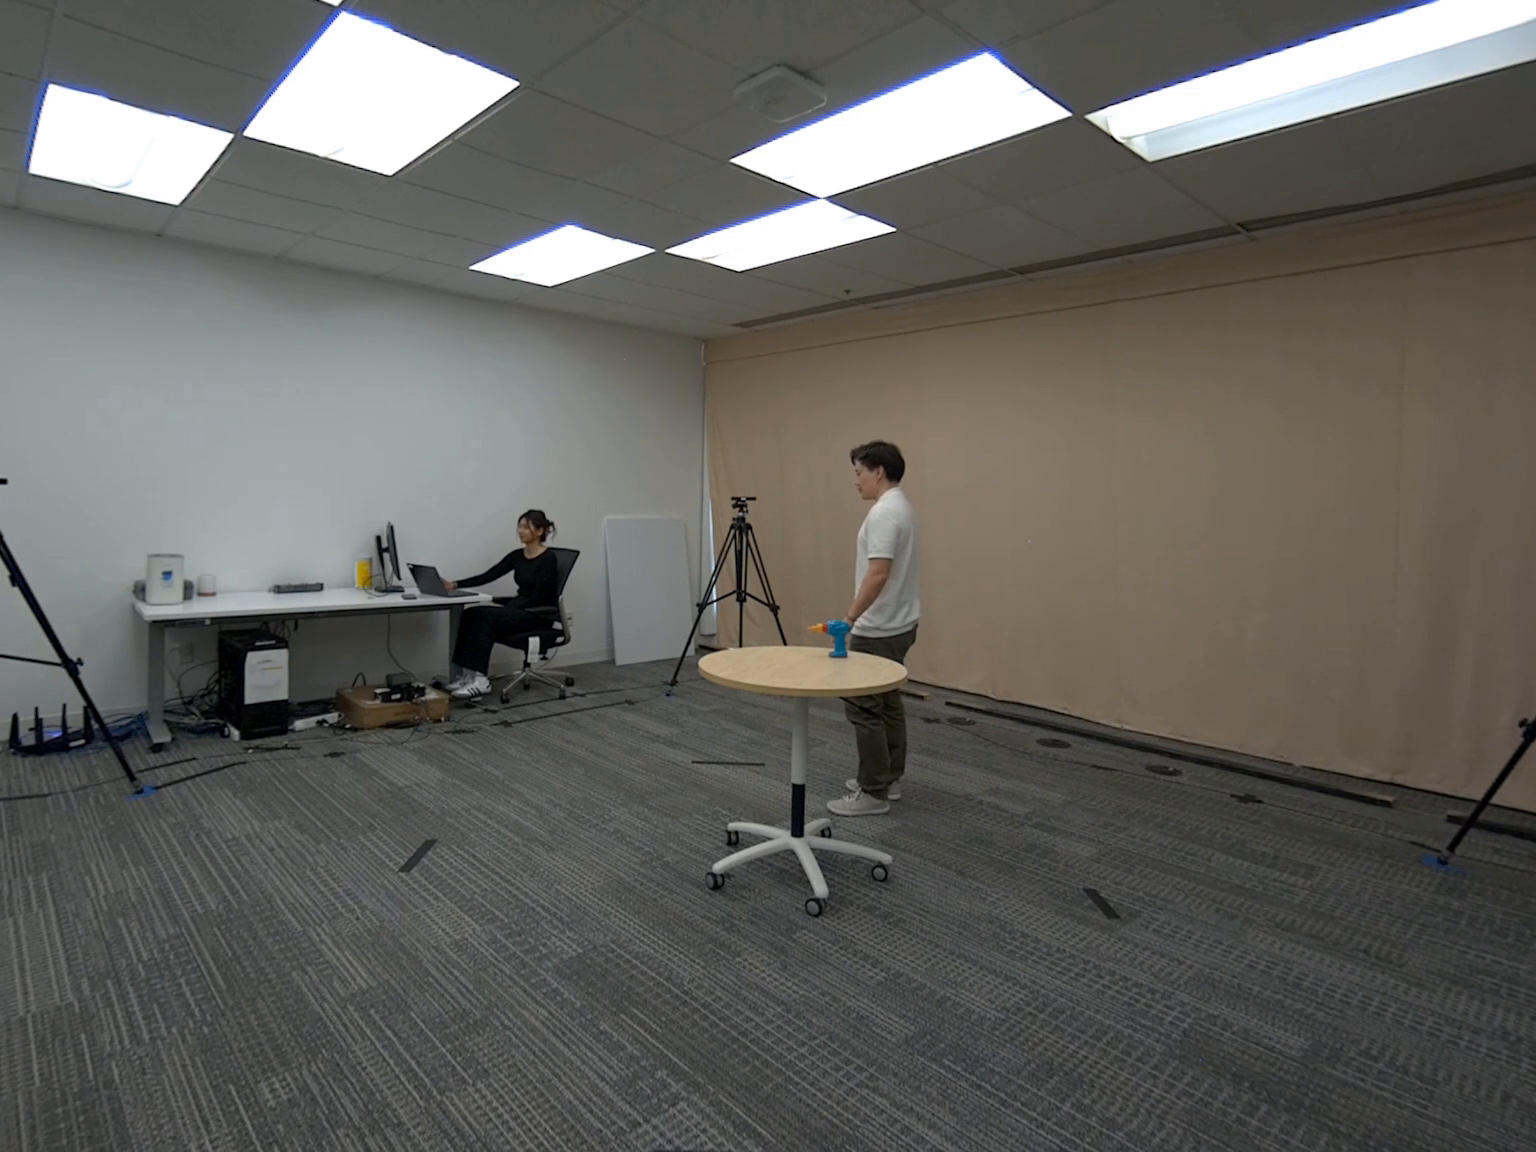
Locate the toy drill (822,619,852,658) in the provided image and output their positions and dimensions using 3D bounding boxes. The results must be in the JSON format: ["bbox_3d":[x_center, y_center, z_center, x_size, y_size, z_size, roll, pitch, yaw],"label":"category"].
[{"bbox_3d":[0.237,0.243,3.274,0.168,0.145,0.062,2,6,-9],"label":"toy drill"}]
